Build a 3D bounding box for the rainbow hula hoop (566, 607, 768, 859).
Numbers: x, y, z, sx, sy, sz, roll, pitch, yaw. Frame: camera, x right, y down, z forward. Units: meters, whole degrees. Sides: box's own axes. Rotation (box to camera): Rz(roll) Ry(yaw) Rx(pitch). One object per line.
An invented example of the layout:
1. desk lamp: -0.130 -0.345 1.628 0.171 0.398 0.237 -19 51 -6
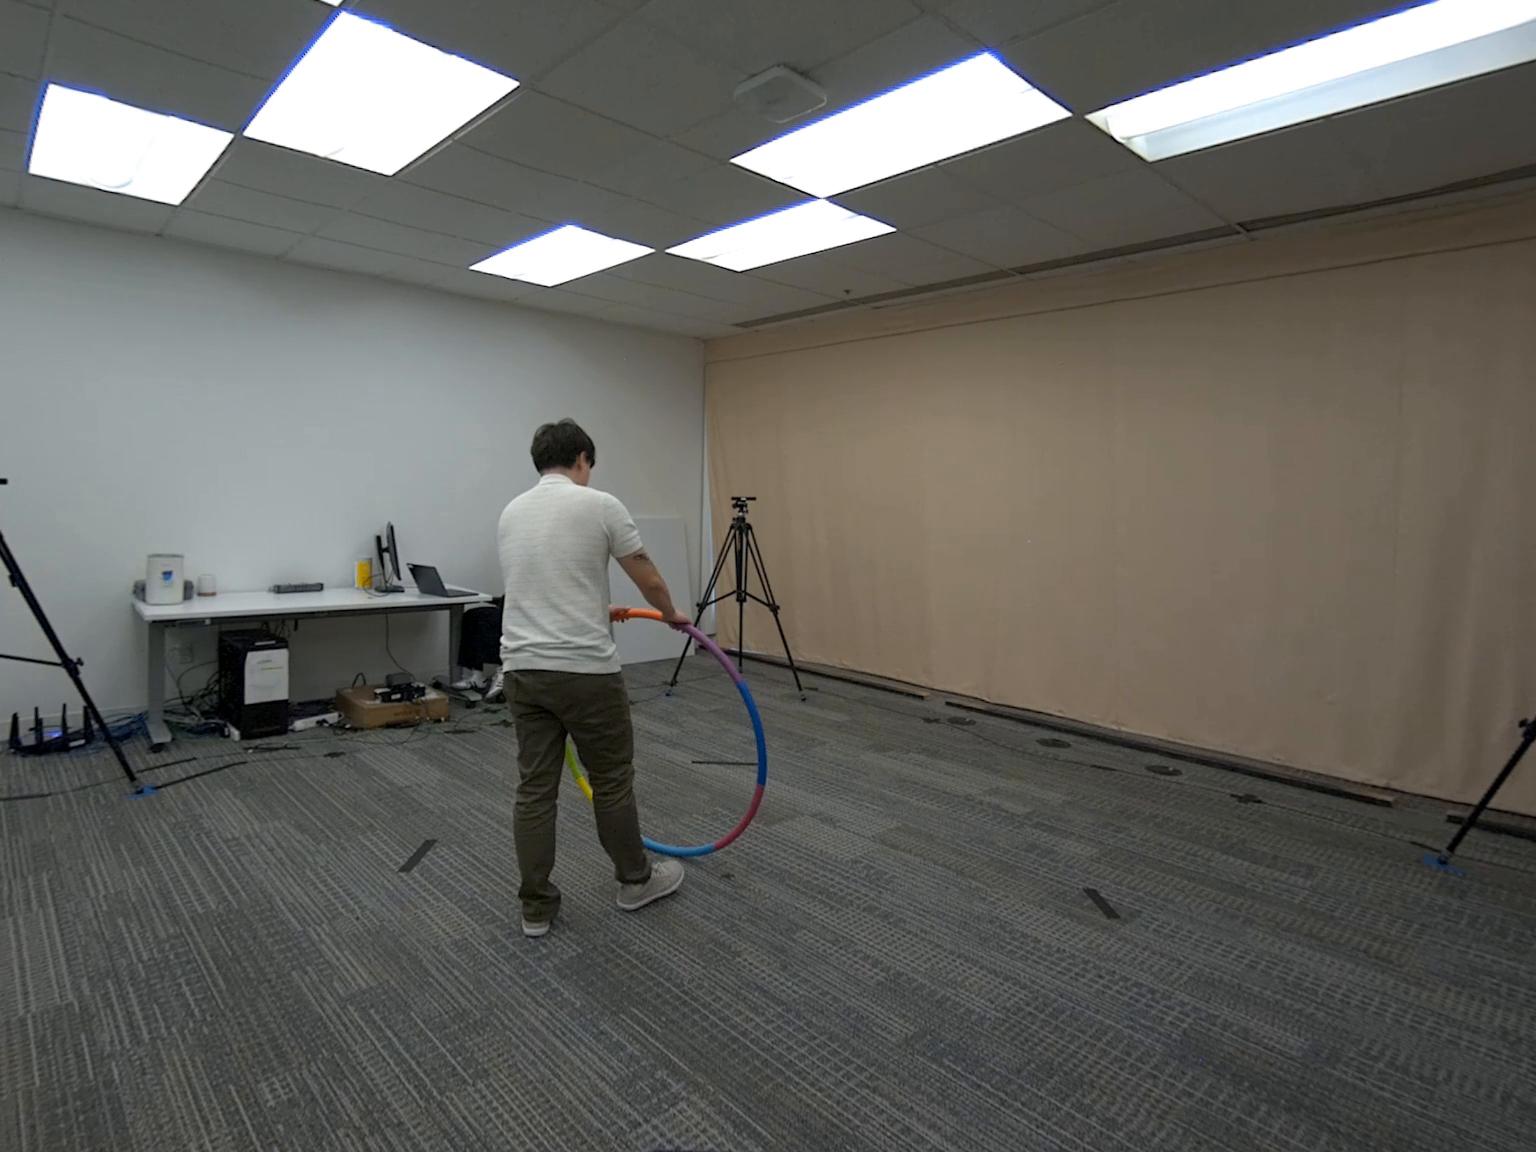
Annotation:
1. rainbow hula hoop: -0.446 0.606 3.223 1.000 0.971 0.035 4 11 31
